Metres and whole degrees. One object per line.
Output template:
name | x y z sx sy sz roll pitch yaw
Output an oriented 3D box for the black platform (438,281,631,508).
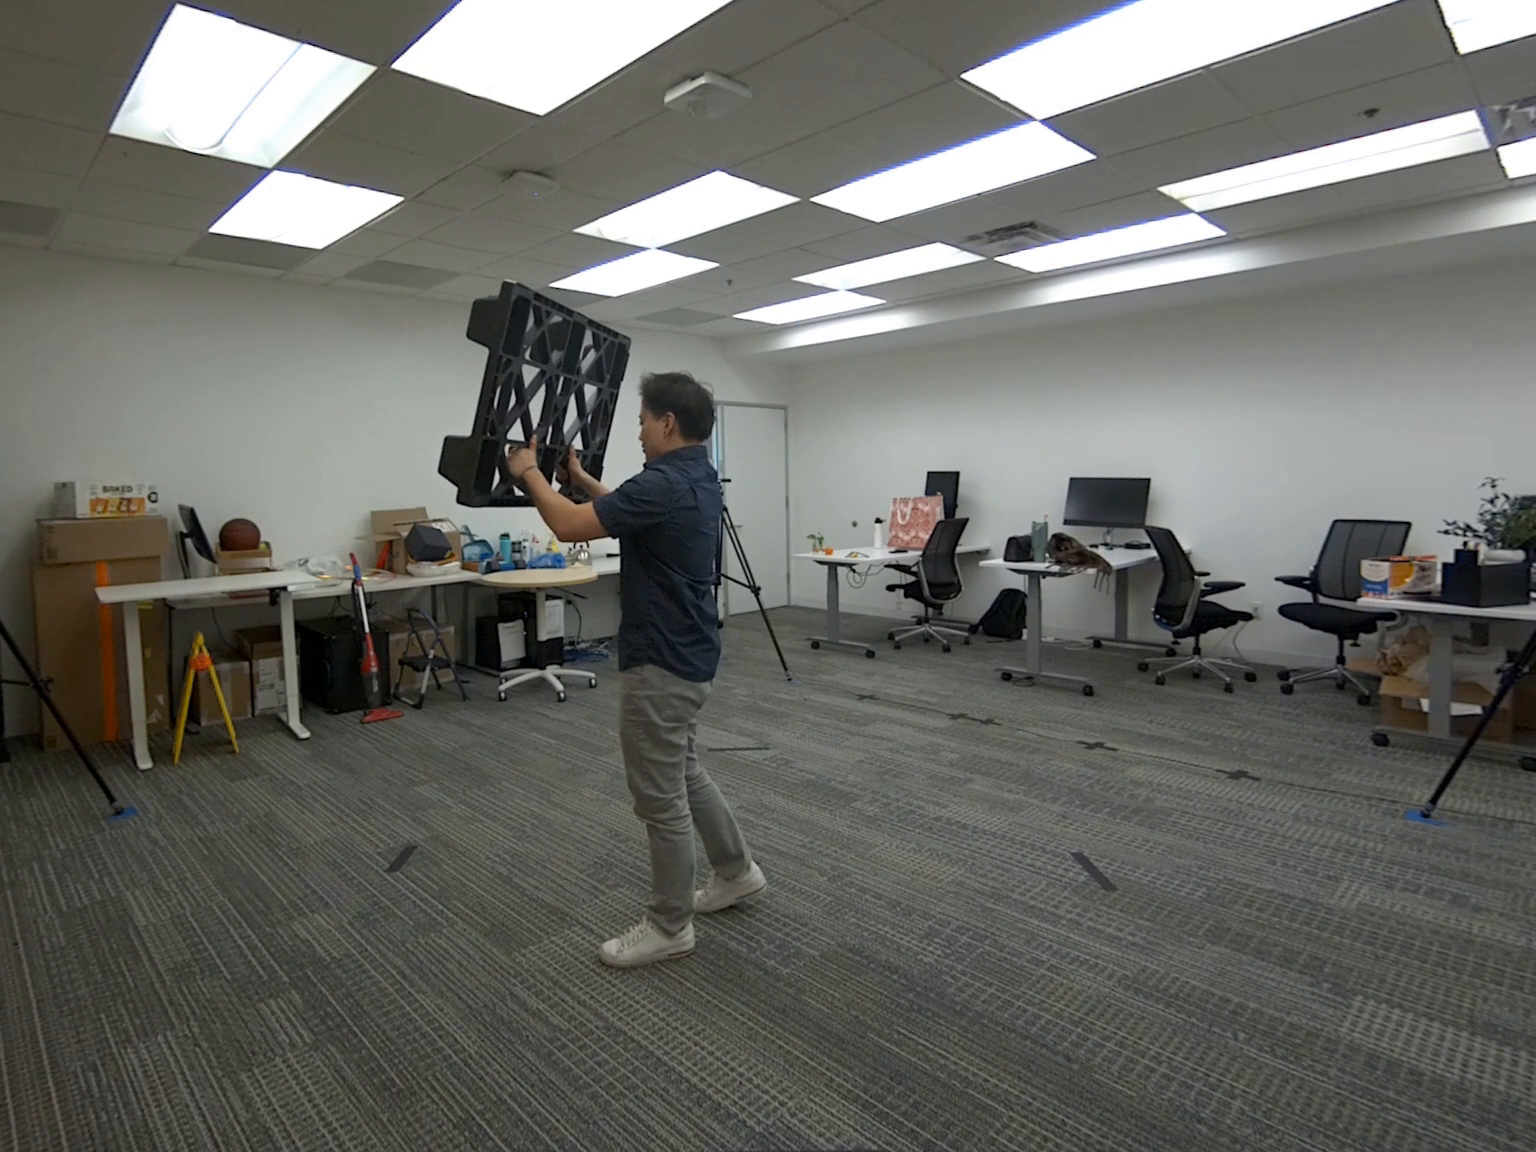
black platform | -0.682 -0.516 2.598 0.145 0.602 0.797 14 7 11
